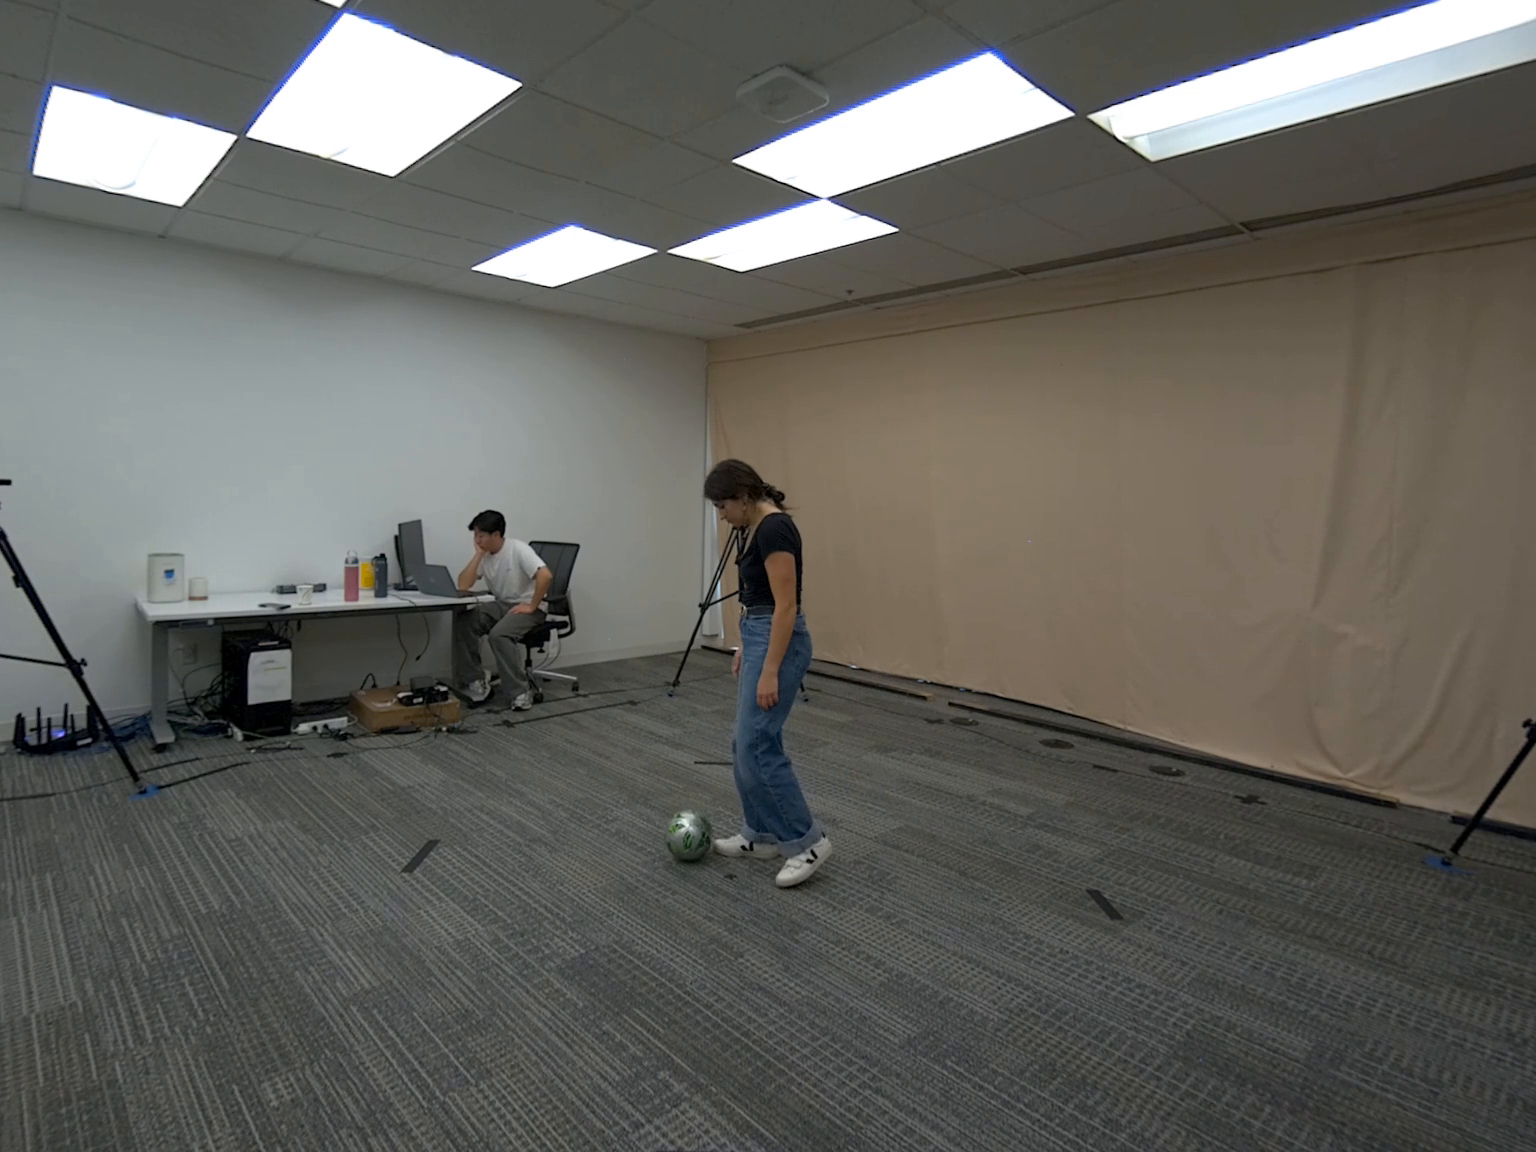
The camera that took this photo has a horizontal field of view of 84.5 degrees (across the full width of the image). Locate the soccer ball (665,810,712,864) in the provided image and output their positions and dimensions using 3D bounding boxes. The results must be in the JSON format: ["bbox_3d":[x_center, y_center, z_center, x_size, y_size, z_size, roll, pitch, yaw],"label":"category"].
[{"bbox_3d":[-0.309,0.990,3.238,0.187,0.187,0.188,1,4,-1],"label":"soccer ball"}]
